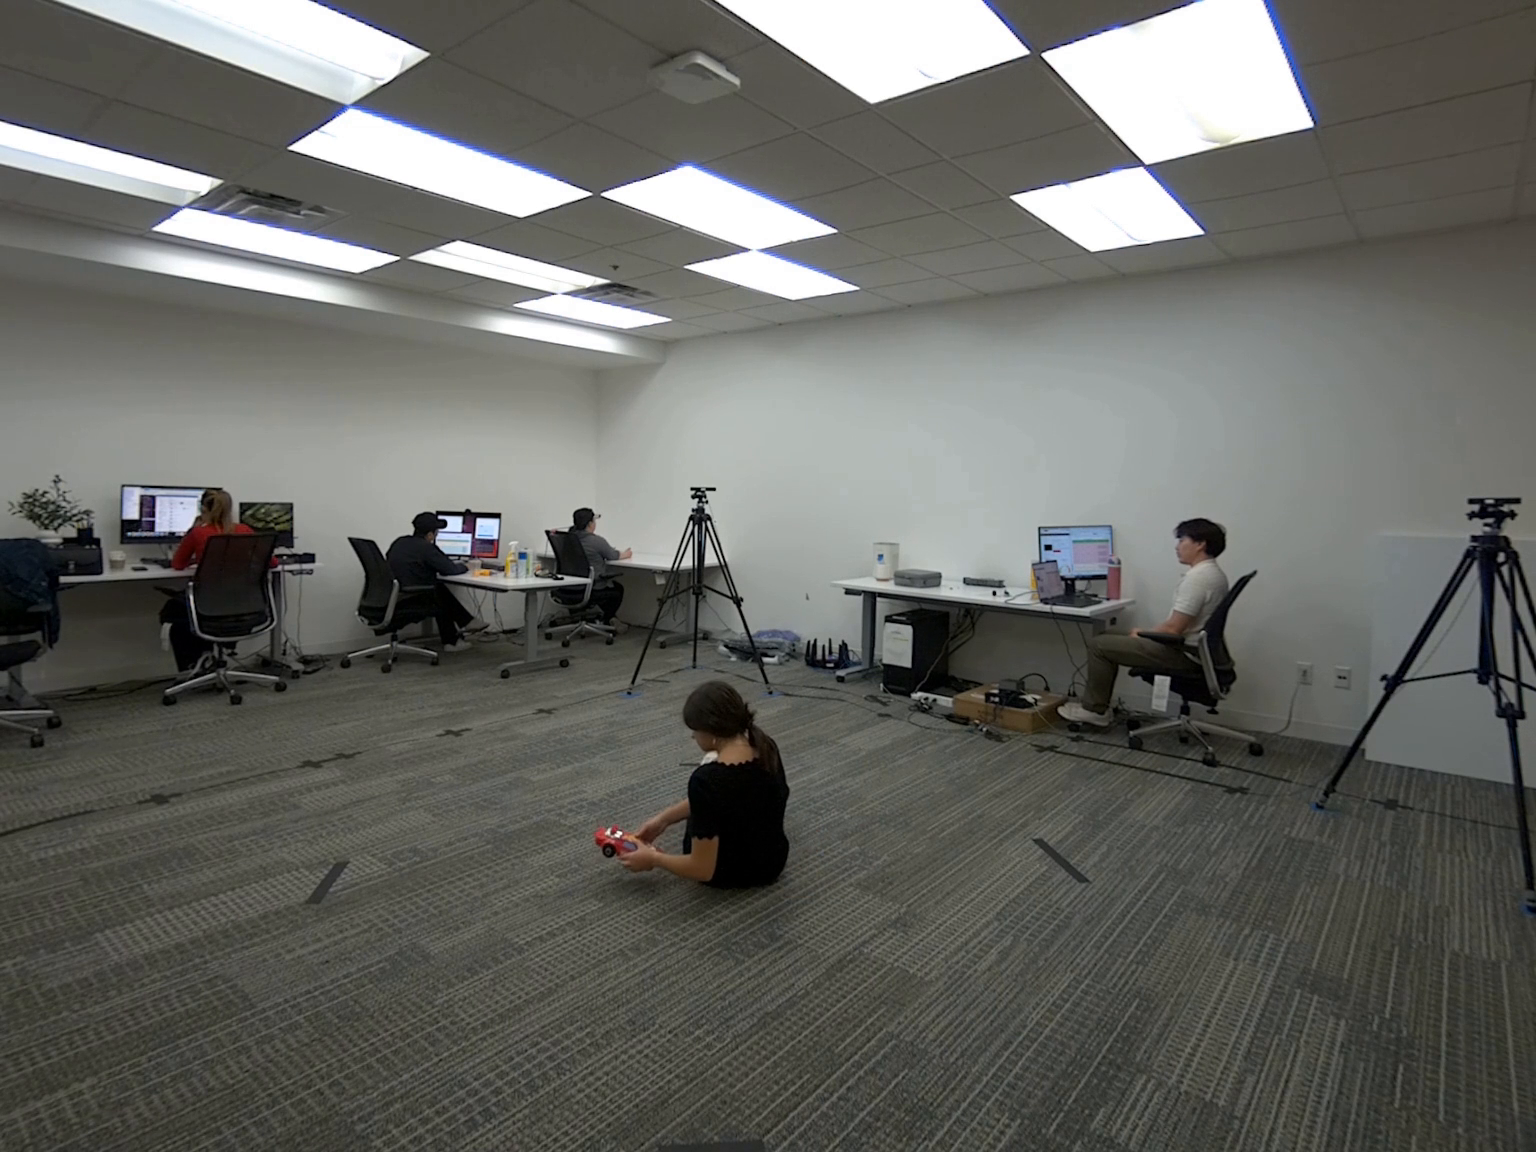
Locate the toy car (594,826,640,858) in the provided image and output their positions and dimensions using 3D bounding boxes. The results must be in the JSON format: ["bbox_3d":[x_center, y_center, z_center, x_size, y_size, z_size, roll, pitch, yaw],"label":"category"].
[{"bbox_3d":[-0.504,0.954,3.000,0.257,0.083,0.129,28,6,6],"label":"toy car"}]
